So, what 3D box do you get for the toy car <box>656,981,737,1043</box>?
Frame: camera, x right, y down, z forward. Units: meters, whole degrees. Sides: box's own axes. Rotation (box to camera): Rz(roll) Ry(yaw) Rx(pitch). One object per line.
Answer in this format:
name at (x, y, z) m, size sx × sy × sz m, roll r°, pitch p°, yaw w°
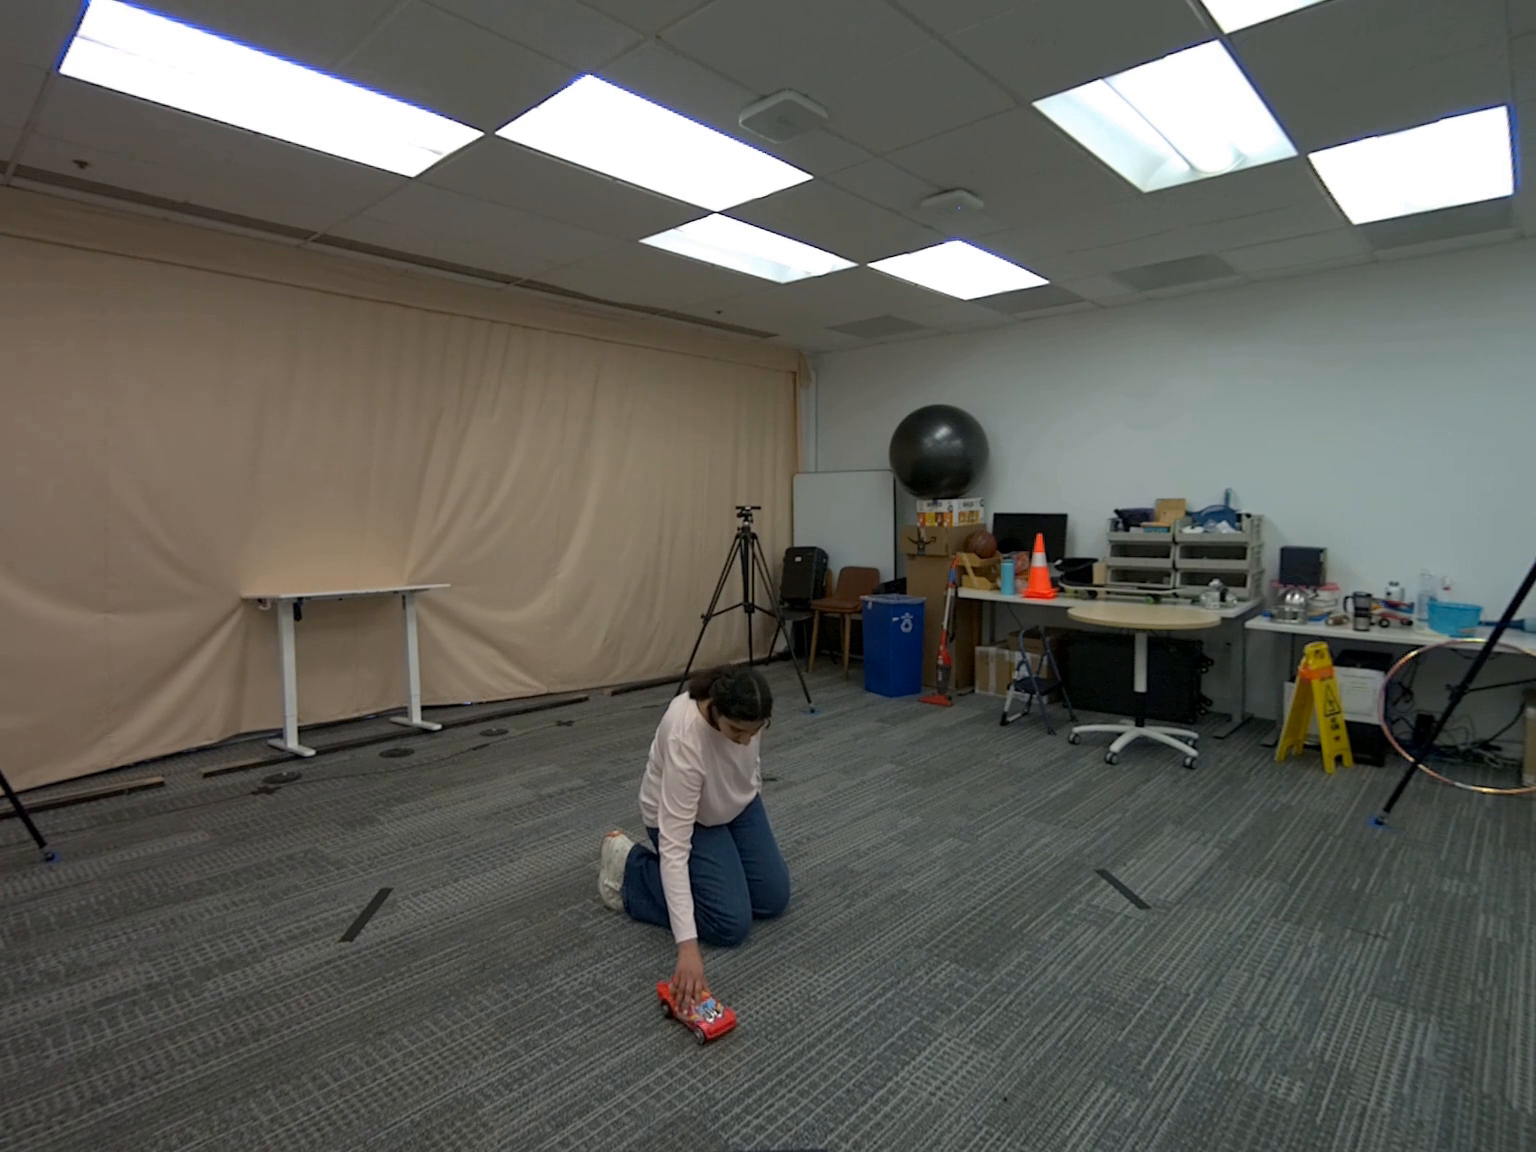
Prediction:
toy car at (-0.203, 1.164, 2.288) m, size 0.126 × 0.082 × 0.264 m, roll -6°, pitch 17°, yaw -40°
